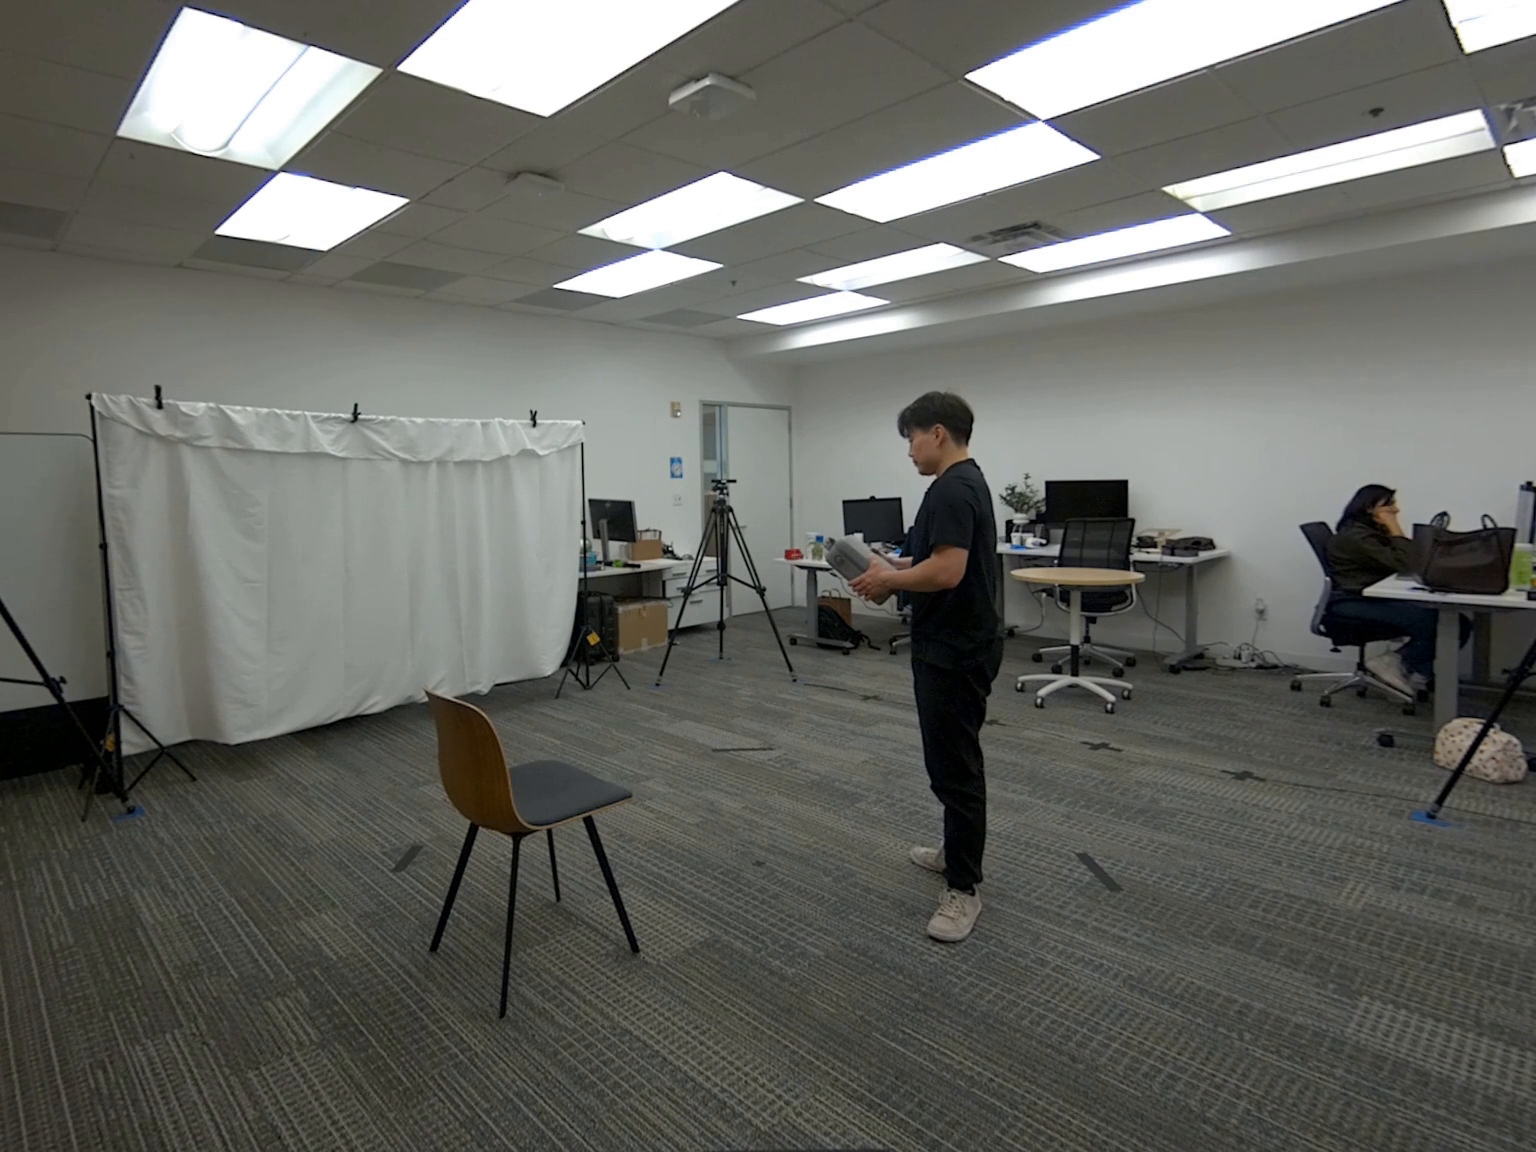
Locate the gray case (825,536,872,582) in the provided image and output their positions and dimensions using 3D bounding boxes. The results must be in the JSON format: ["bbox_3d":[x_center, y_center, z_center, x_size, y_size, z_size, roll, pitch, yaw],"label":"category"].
[{"bbox_3d":[0.339,-0.023,2.915,0.265,0.104,0.253,41,15,13],"label":"gray case"}]
